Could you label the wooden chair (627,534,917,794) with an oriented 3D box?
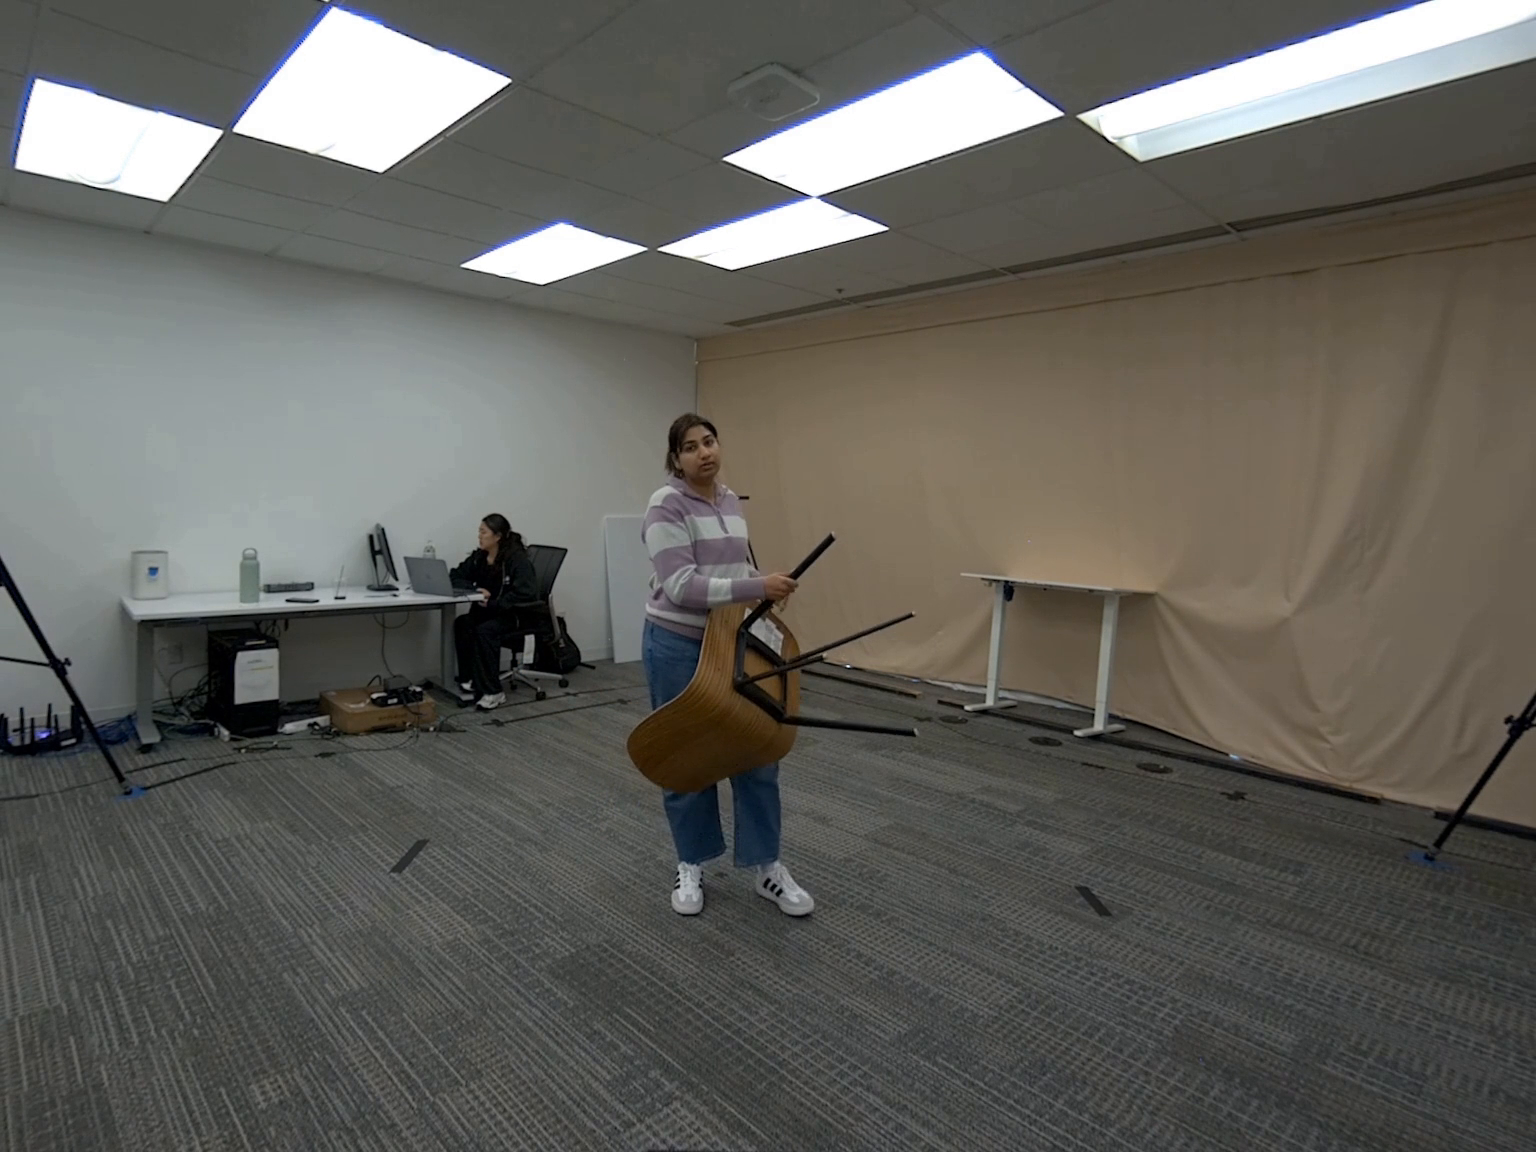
[{"bbox_3d":[-0.020,0.317,2.686,0.885,0.533,0.465,-28,-54,29],"label":"wooden chair"}]
